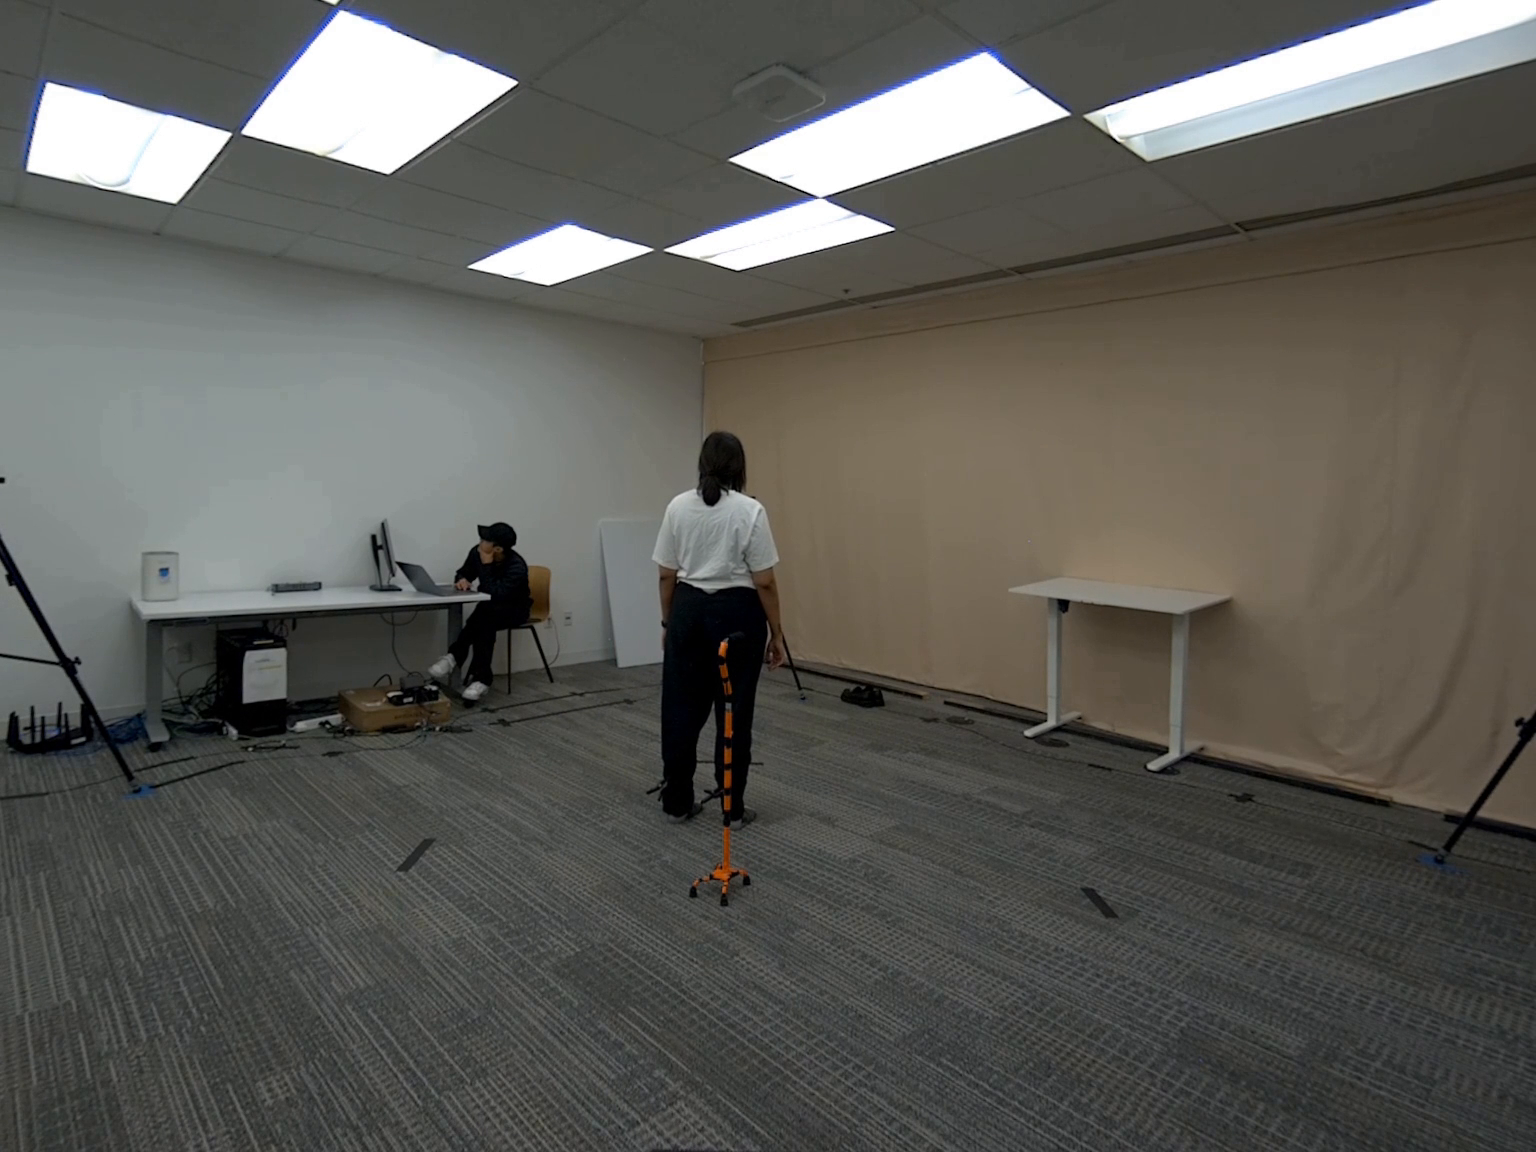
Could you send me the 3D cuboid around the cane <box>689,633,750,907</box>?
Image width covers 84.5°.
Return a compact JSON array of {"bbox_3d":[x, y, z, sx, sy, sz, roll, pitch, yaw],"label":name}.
[{"bbox_3d":[-0.173,0.665,2.955,0.154,0.906,0.203,2,3,26],"label":"cane"}]
